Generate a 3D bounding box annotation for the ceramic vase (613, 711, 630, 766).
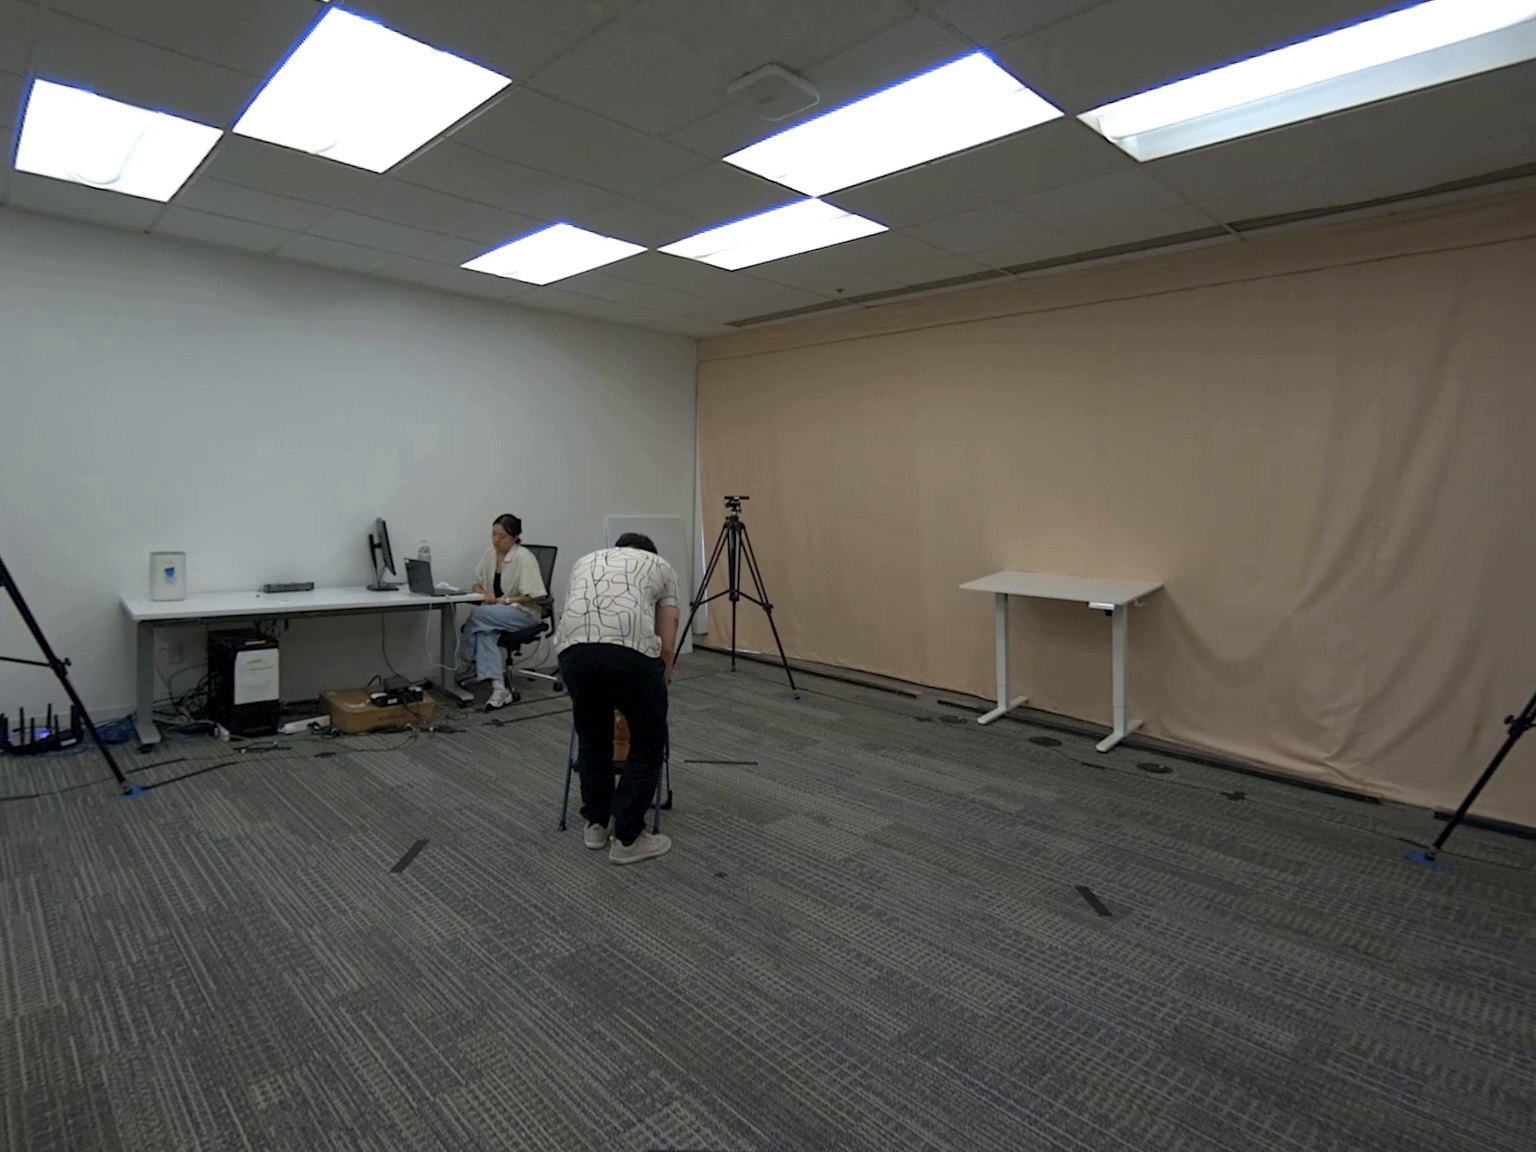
[{"bbox_3d":[-0.628,0.668,3.612,0.138,0.219,0.155,4,2,37],"label":"ceramic vase"}]
